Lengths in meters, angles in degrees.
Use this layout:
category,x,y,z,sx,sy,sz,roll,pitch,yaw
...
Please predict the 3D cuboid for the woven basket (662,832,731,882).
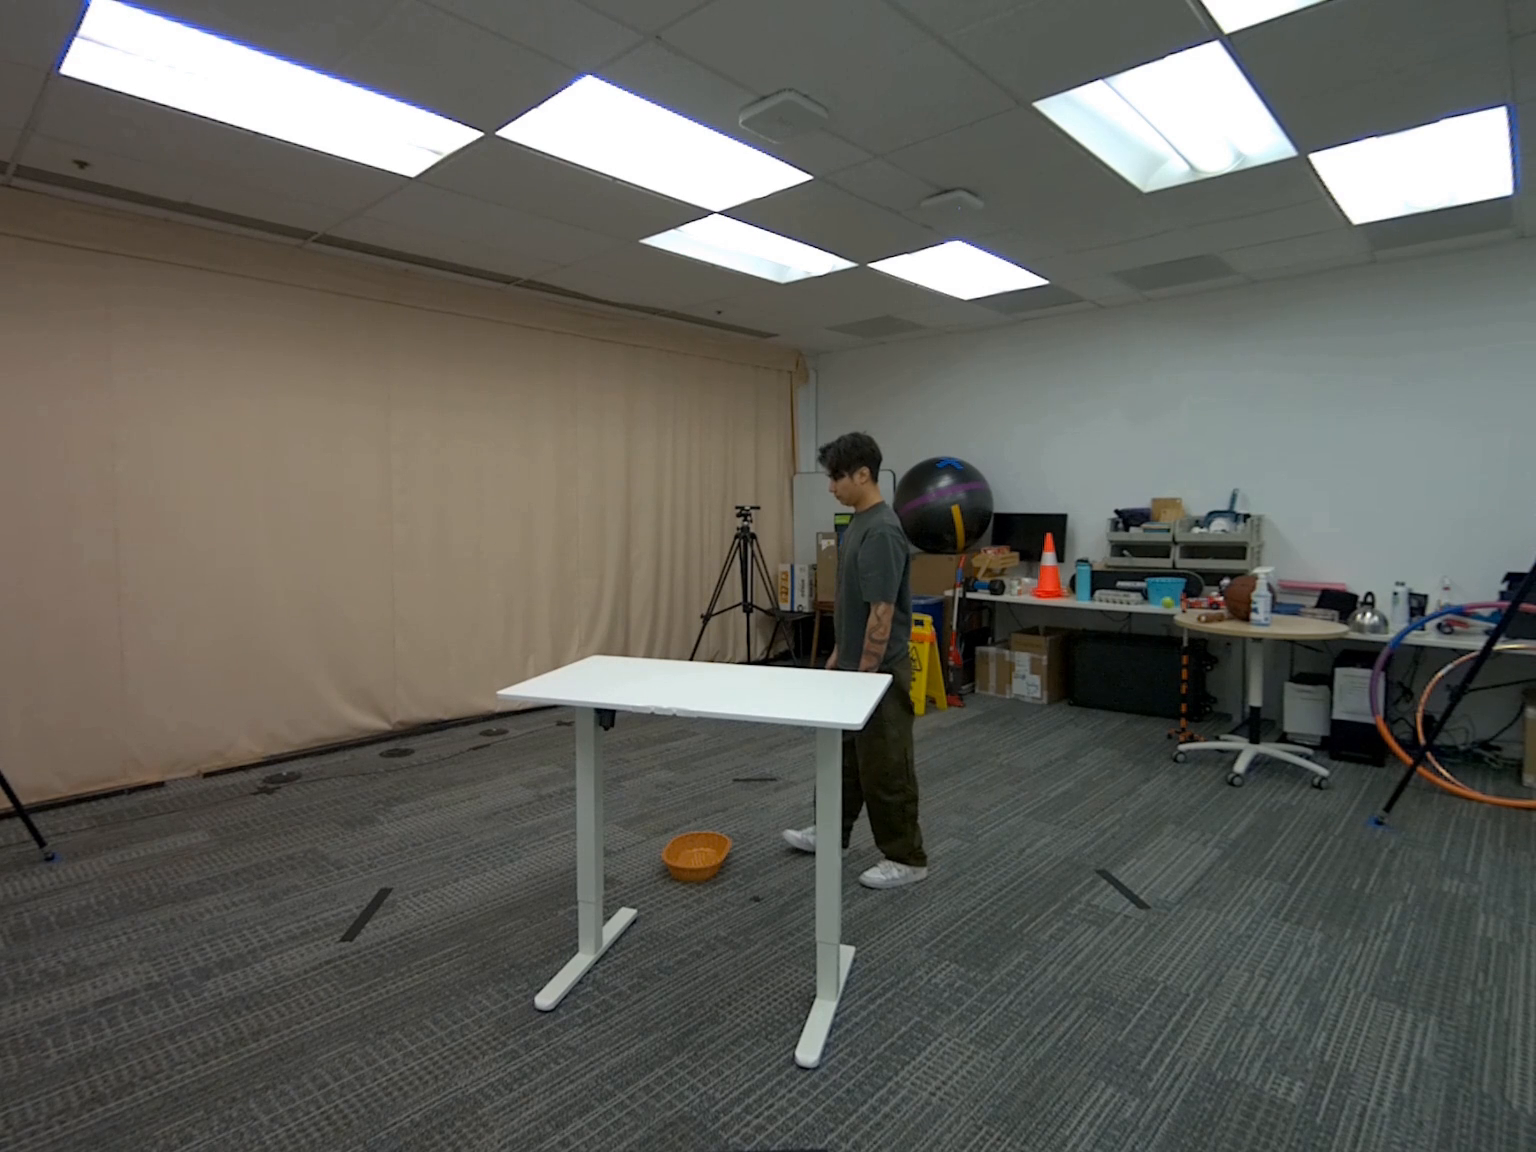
category,x,y,z,sx,sy,sz,roll,pitch,yaw
woven basket,-0.275,1.088,3.261,0.257,0.073,0.345,0,5,14
